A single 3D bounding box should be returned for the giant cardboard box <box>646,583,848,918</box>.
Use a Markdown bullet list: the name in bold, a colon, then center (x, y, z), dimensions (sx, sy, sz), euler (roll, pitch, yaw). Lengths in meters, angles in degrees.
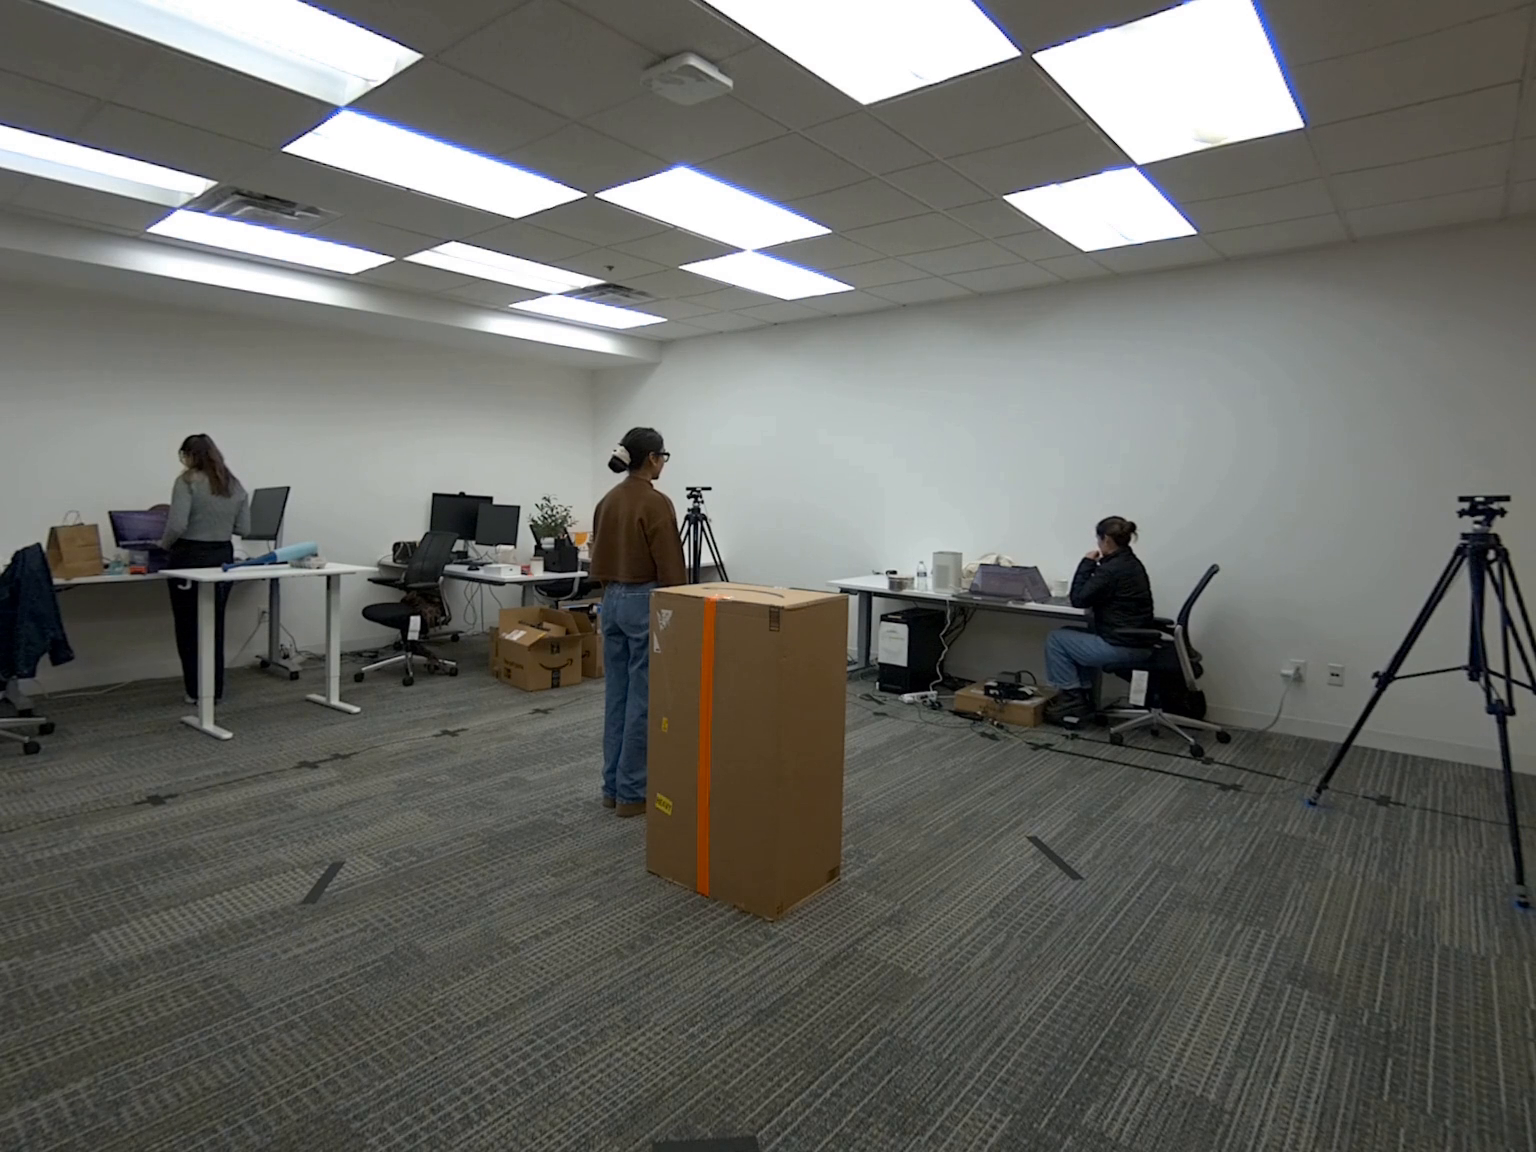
- **giant cardboard box**: center (-0.088, 0.569, 3.032), dimensions (0.603, 1.024, 0.434), euler (4, 4, 36)
